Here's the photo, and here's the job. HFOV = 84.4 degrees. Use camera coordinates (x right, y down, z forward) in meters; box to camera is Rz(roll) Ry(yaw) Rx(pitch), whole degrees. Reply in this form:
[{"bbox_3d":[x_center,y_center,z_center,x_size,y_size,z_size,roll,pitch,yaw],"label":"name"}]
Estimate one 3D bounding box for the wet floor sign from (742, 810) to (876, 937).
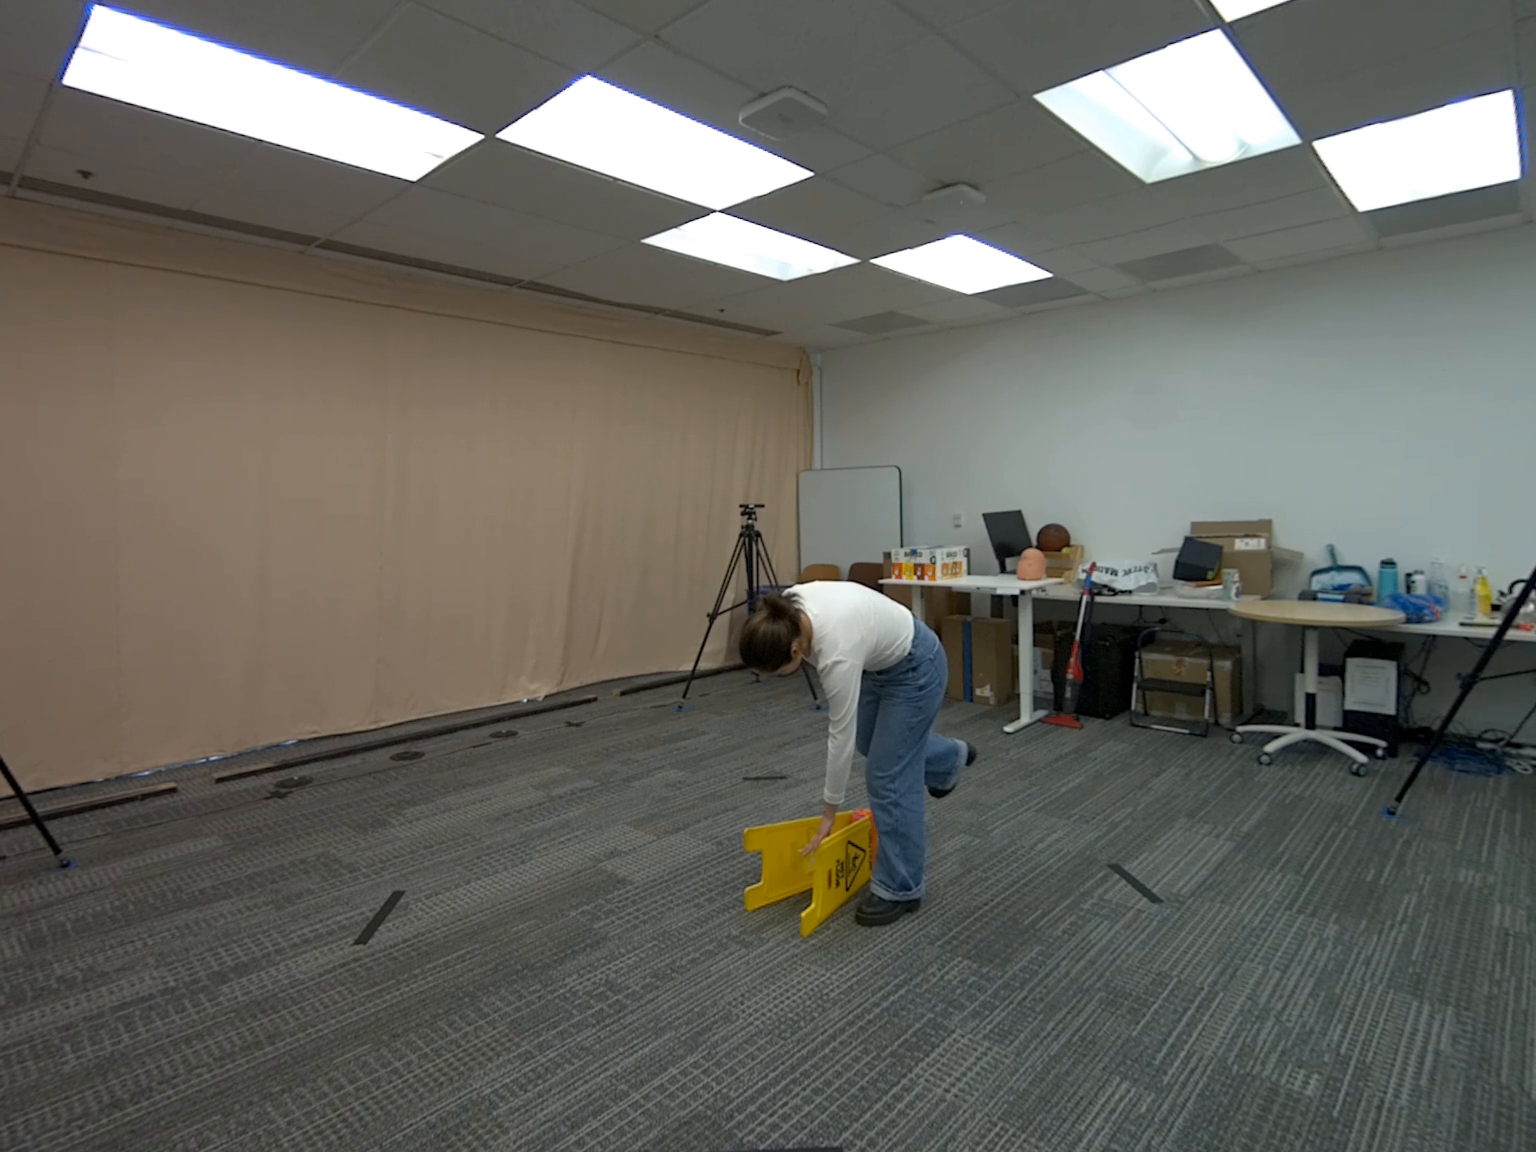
[{"bbox_3d":[0.236,1.003,3.013,0.299,0.282,0.626,4,5,44],"label":"wet floor sign"}]
